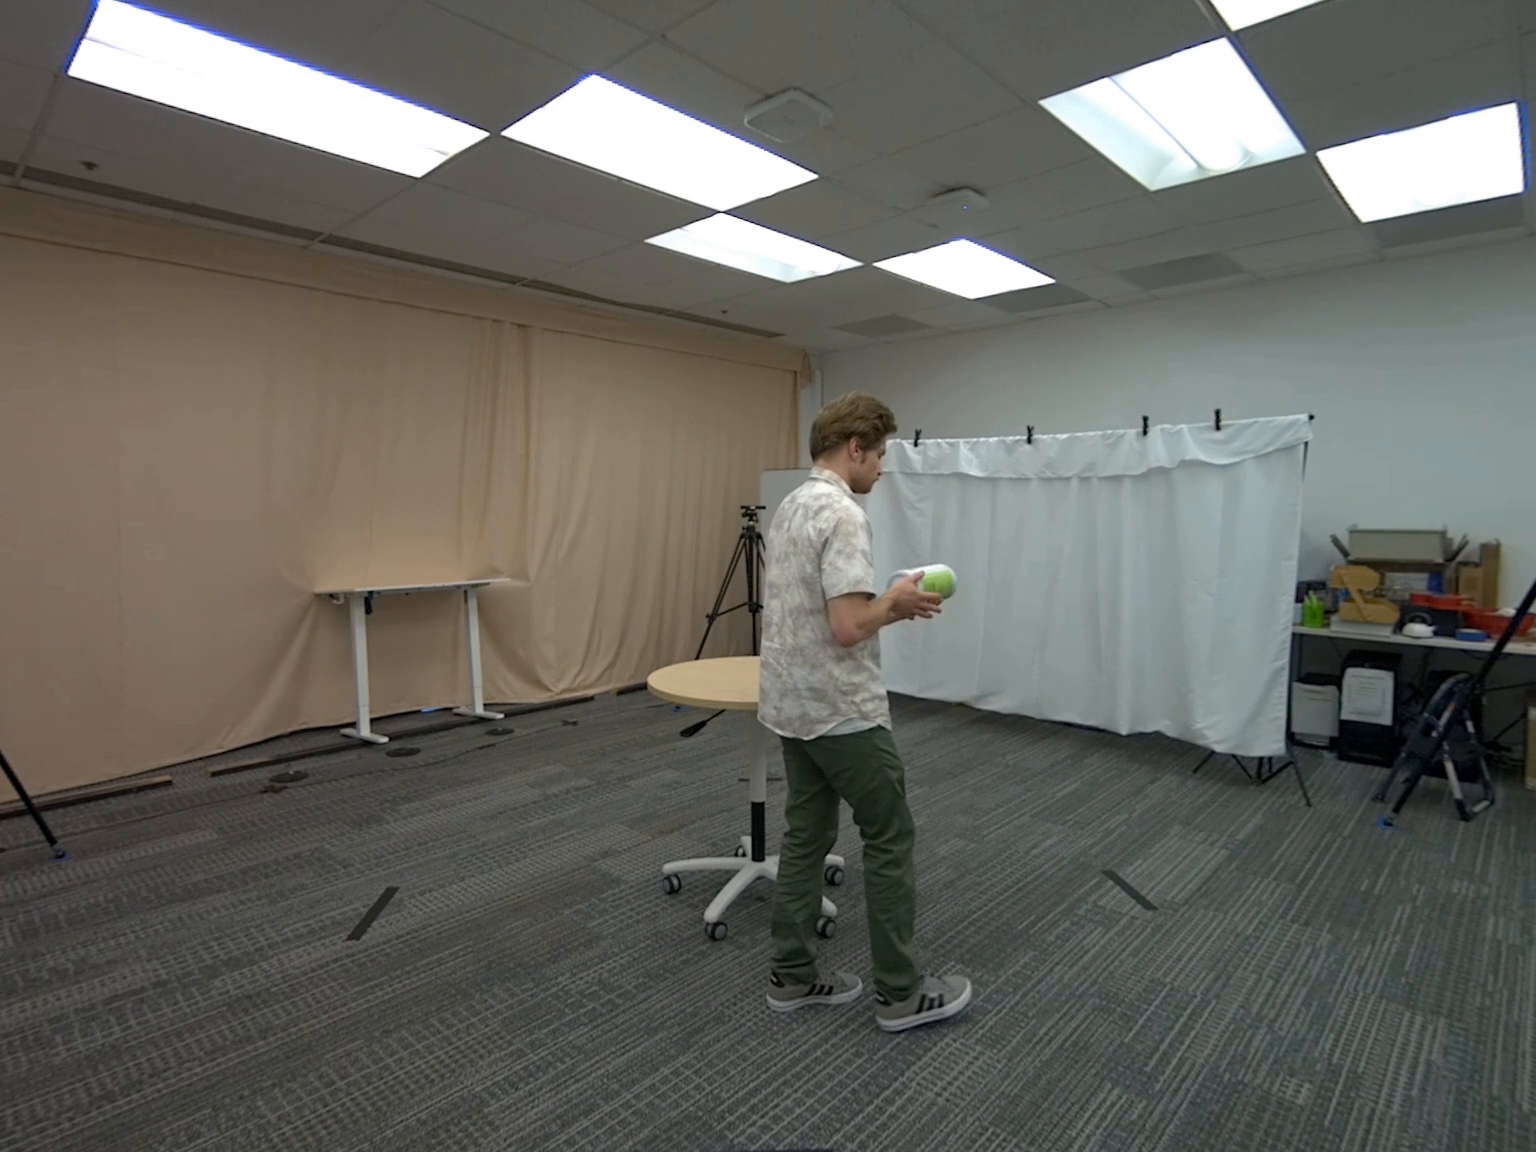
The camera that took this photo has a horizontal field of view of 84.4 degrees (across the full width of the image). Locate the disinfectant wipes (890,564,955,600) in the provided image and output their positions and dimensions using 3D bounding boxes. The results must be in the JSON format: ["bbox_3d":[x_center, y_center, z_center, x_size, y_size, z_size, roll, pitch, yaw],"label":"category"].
[{"bbox_3d":[0.451,0.029,2.431,0.122,0.117,0.211,4,8,44],"label":"disinfectant wipes"}]
